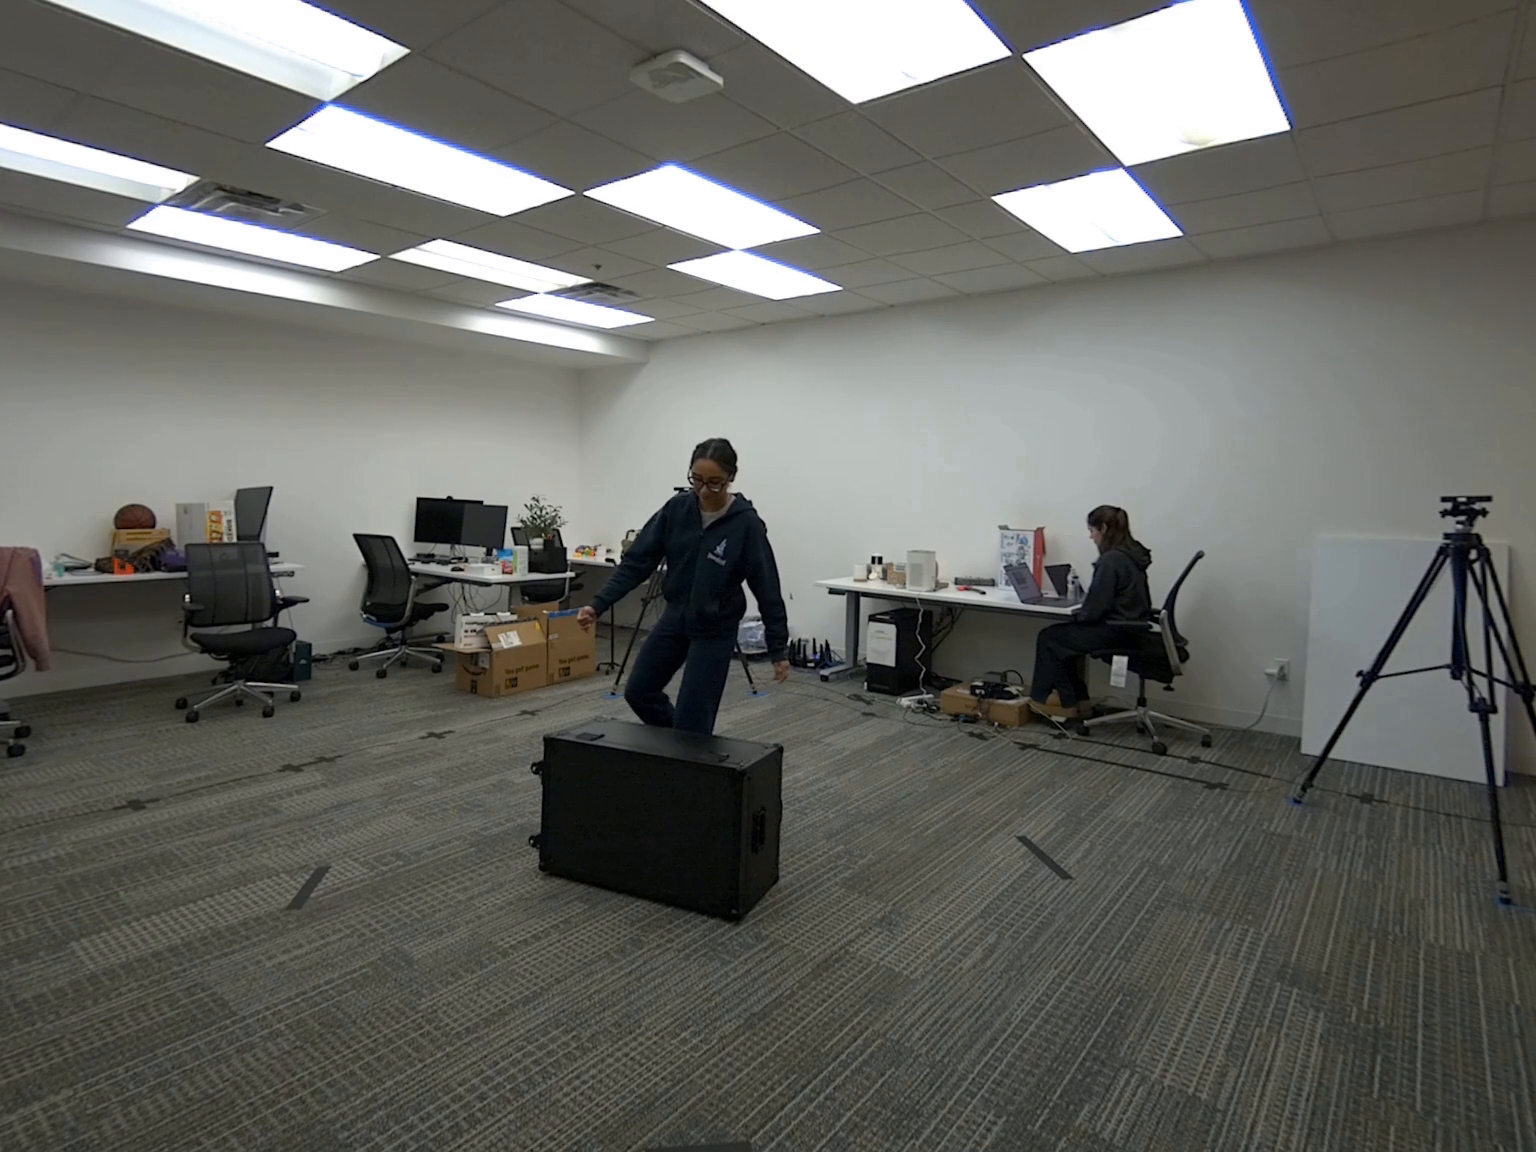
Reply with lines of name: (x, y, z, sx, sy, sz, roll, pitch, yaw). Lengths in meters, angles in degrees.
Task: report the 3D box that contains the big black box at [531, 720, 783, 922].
big black box: (-0.414, 0.816, 3.045, 0.883, 0.521, 0.387, 3, 2, 24)
